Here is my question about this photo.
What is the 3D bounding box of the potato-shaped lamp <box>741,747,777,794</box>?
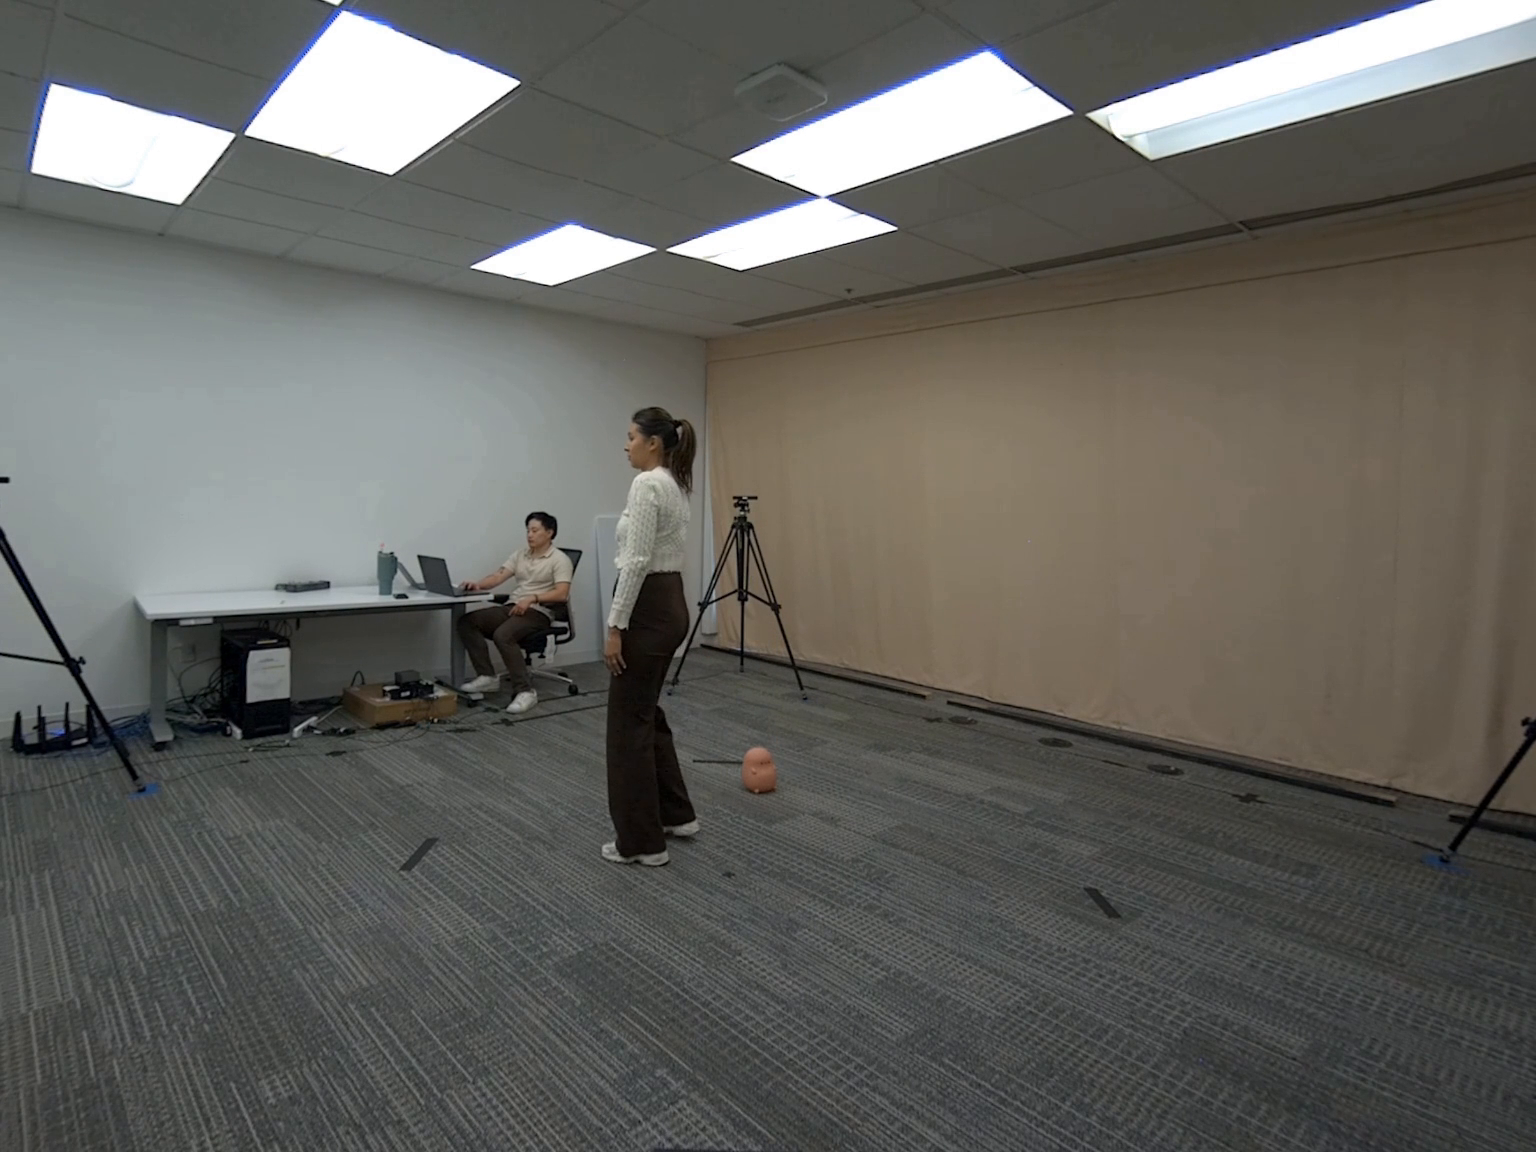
[{"bbox_3d":[-0.057,0.925,4.050,0.161,0.198,0.175,2,1,-29],"label":"potato-shaped lamp"}]
